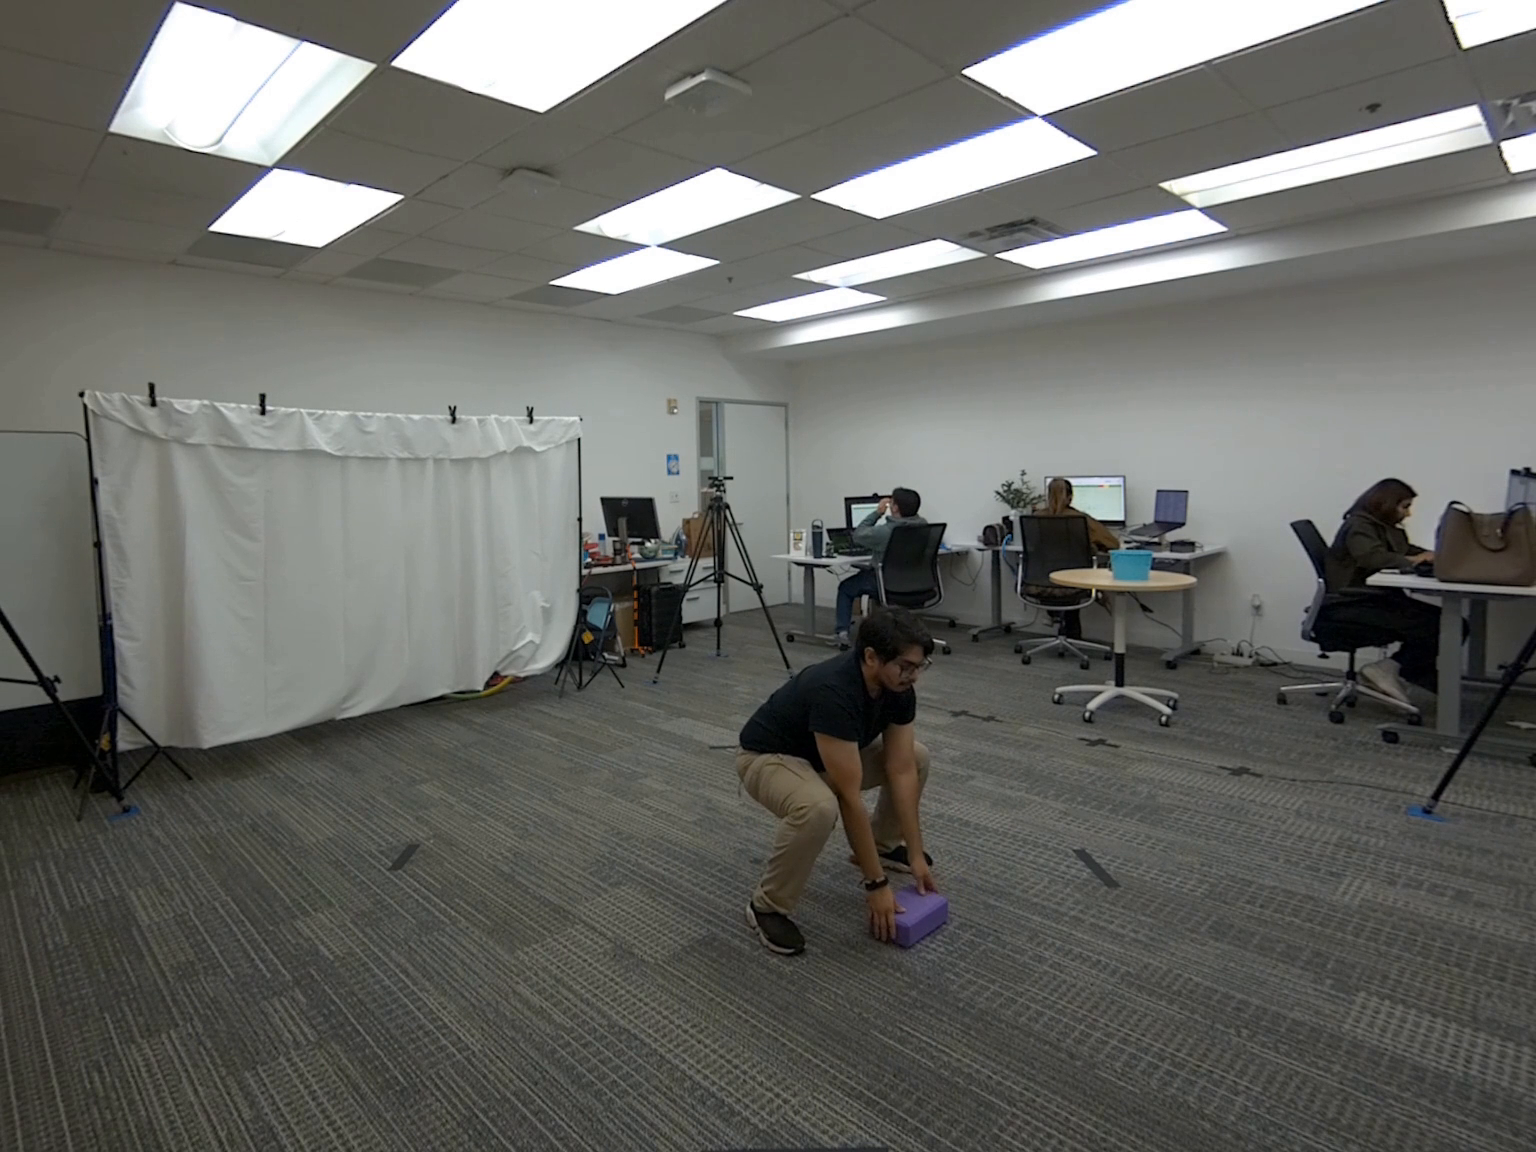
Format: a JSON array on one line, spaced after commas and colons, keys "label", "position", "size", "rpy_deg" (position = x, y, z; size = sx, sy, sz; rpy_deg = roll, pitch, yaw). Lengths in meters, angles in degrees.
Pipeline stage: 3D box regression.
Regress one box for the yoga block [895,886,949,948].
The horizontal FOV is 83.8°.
[{"label": "yoga block", "position": [0.434, 1.040, 2.634], "size": [0.223, 0.076, 0.154], "rpy_deg": [-5, 8, -43]}]
